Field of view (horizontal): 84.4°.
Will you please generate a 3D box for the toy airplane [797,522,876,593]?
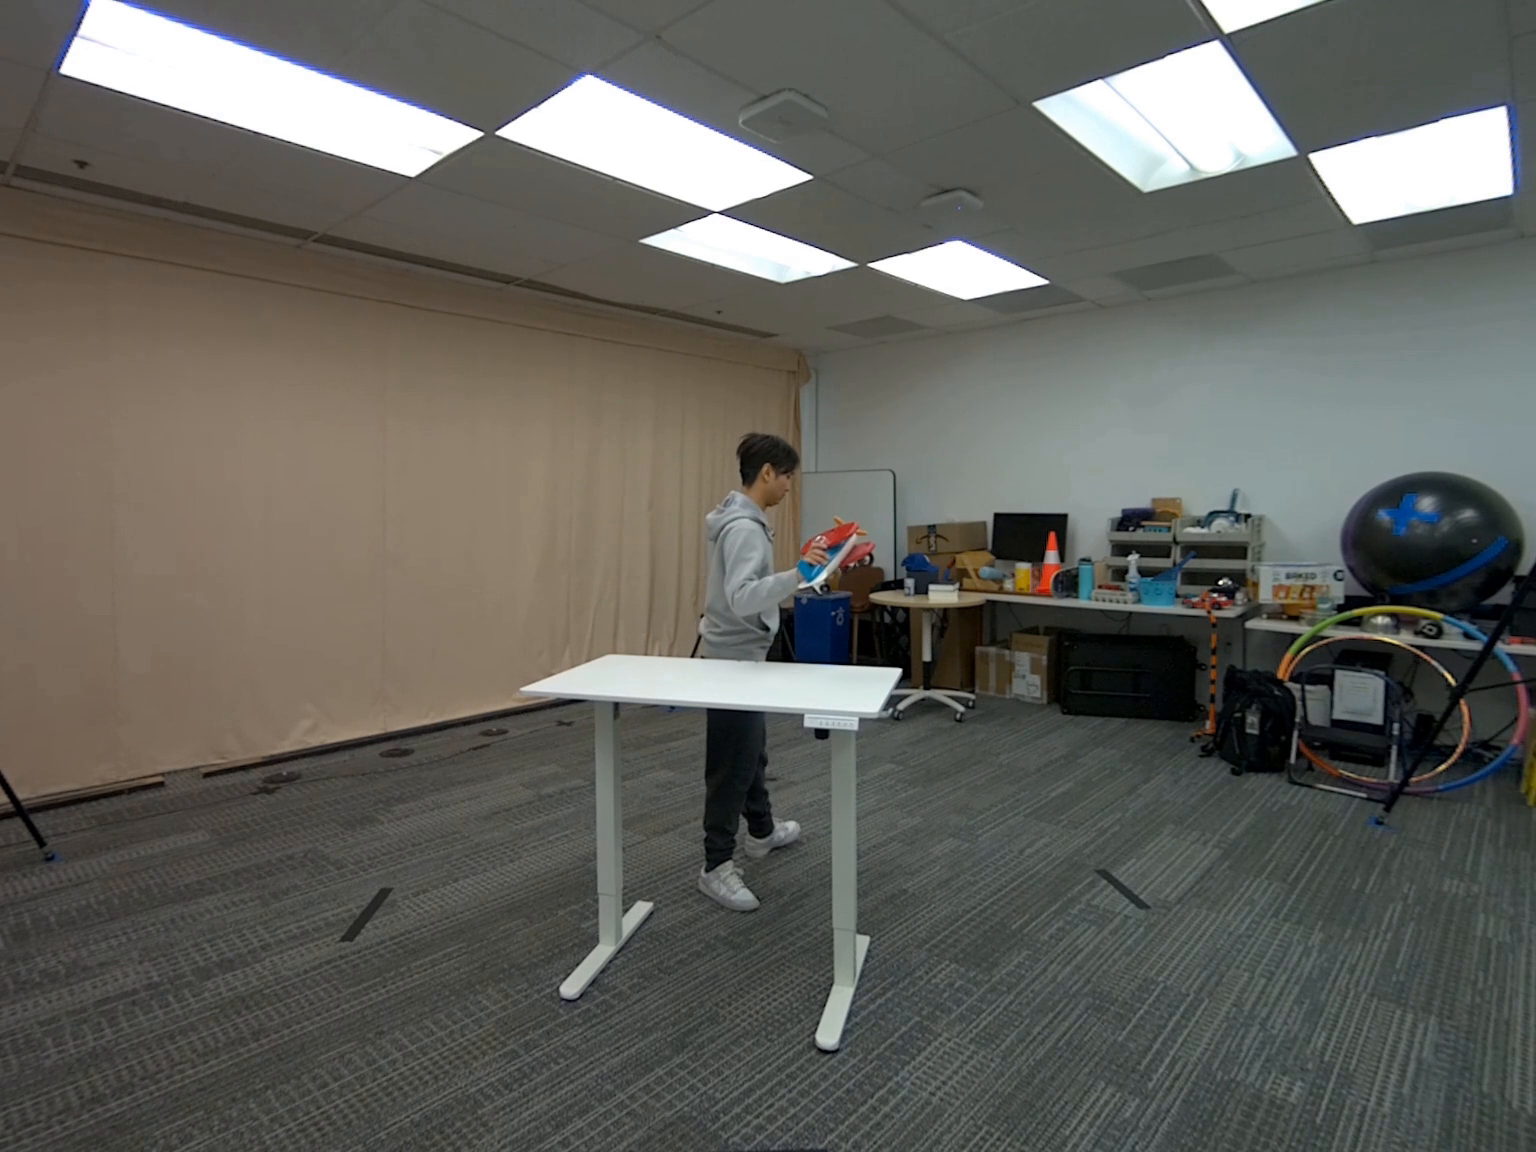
[{"bbox_3d":[0.210,-0.057,2.582,0.255,0.156,0.256,-25,6,27],"label":"toy airplane"}]
